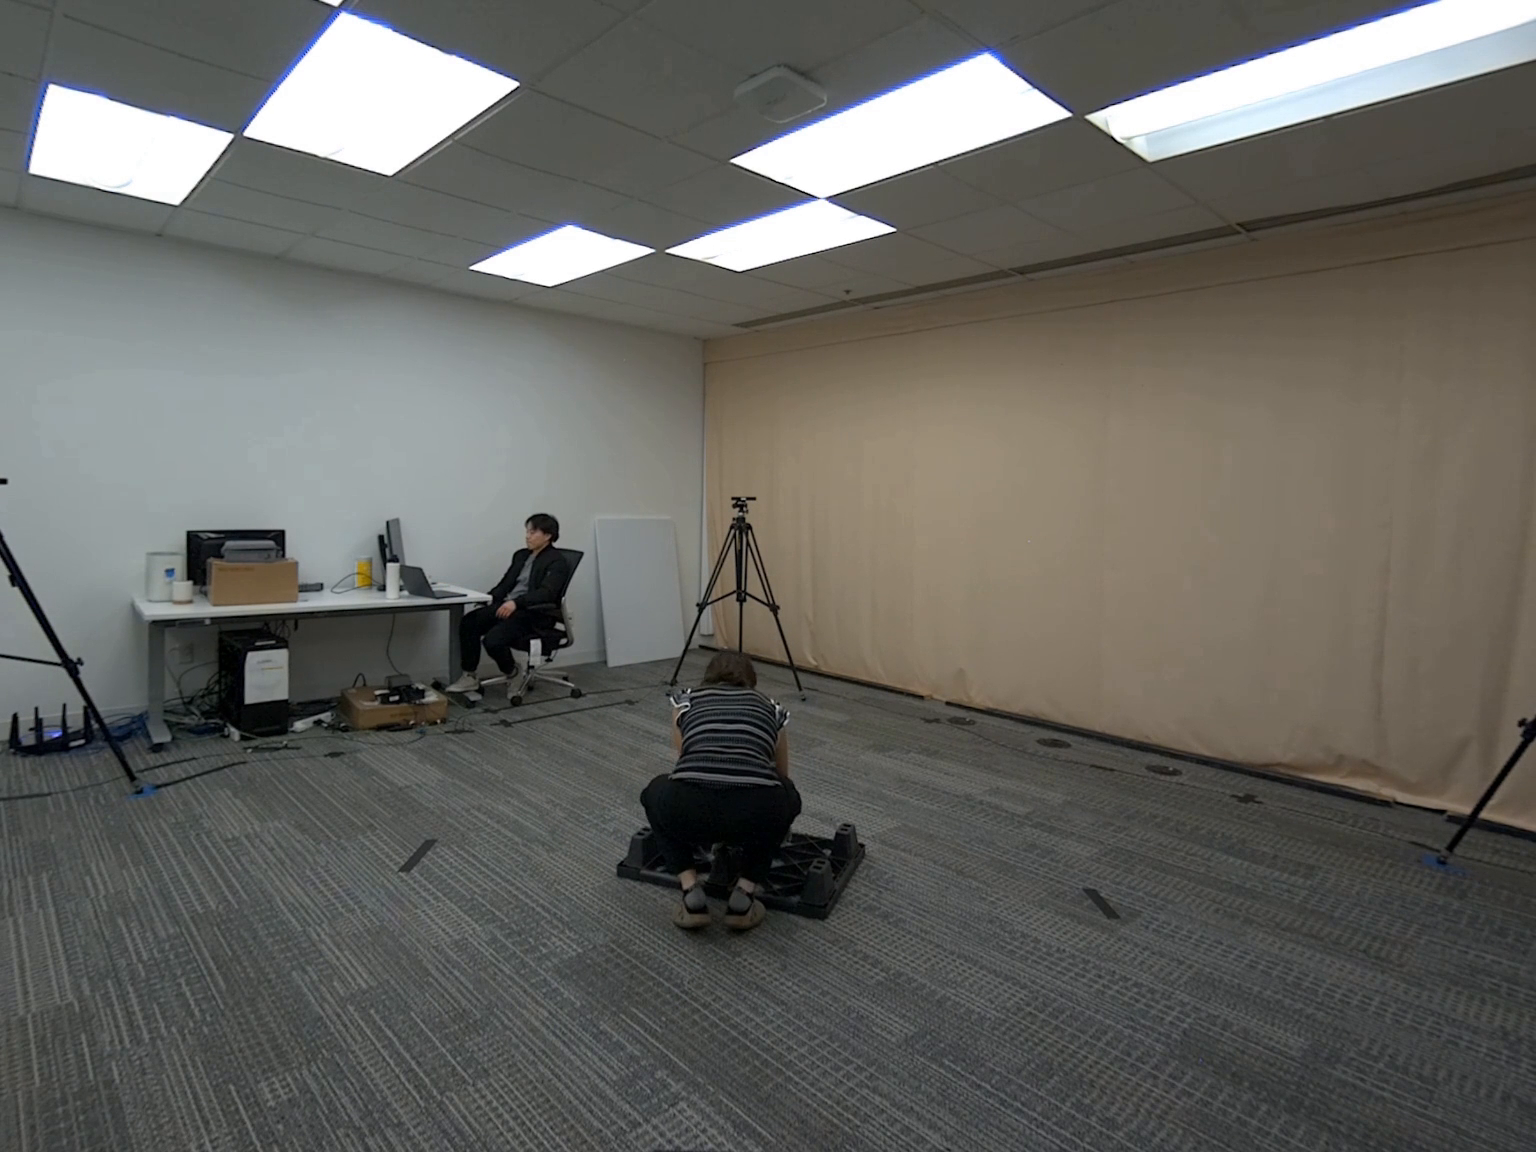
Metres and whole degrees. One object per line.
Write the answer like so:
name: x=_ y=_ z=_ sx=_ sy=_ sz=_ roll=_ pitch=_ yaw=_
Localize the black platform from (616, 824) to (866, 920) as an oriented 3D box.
black platform: x=-0.095 y=1.032 z=3.199 sx=0.819 sy=0.143 sz=0.597 roll=3 pitch=5 yaw=20
